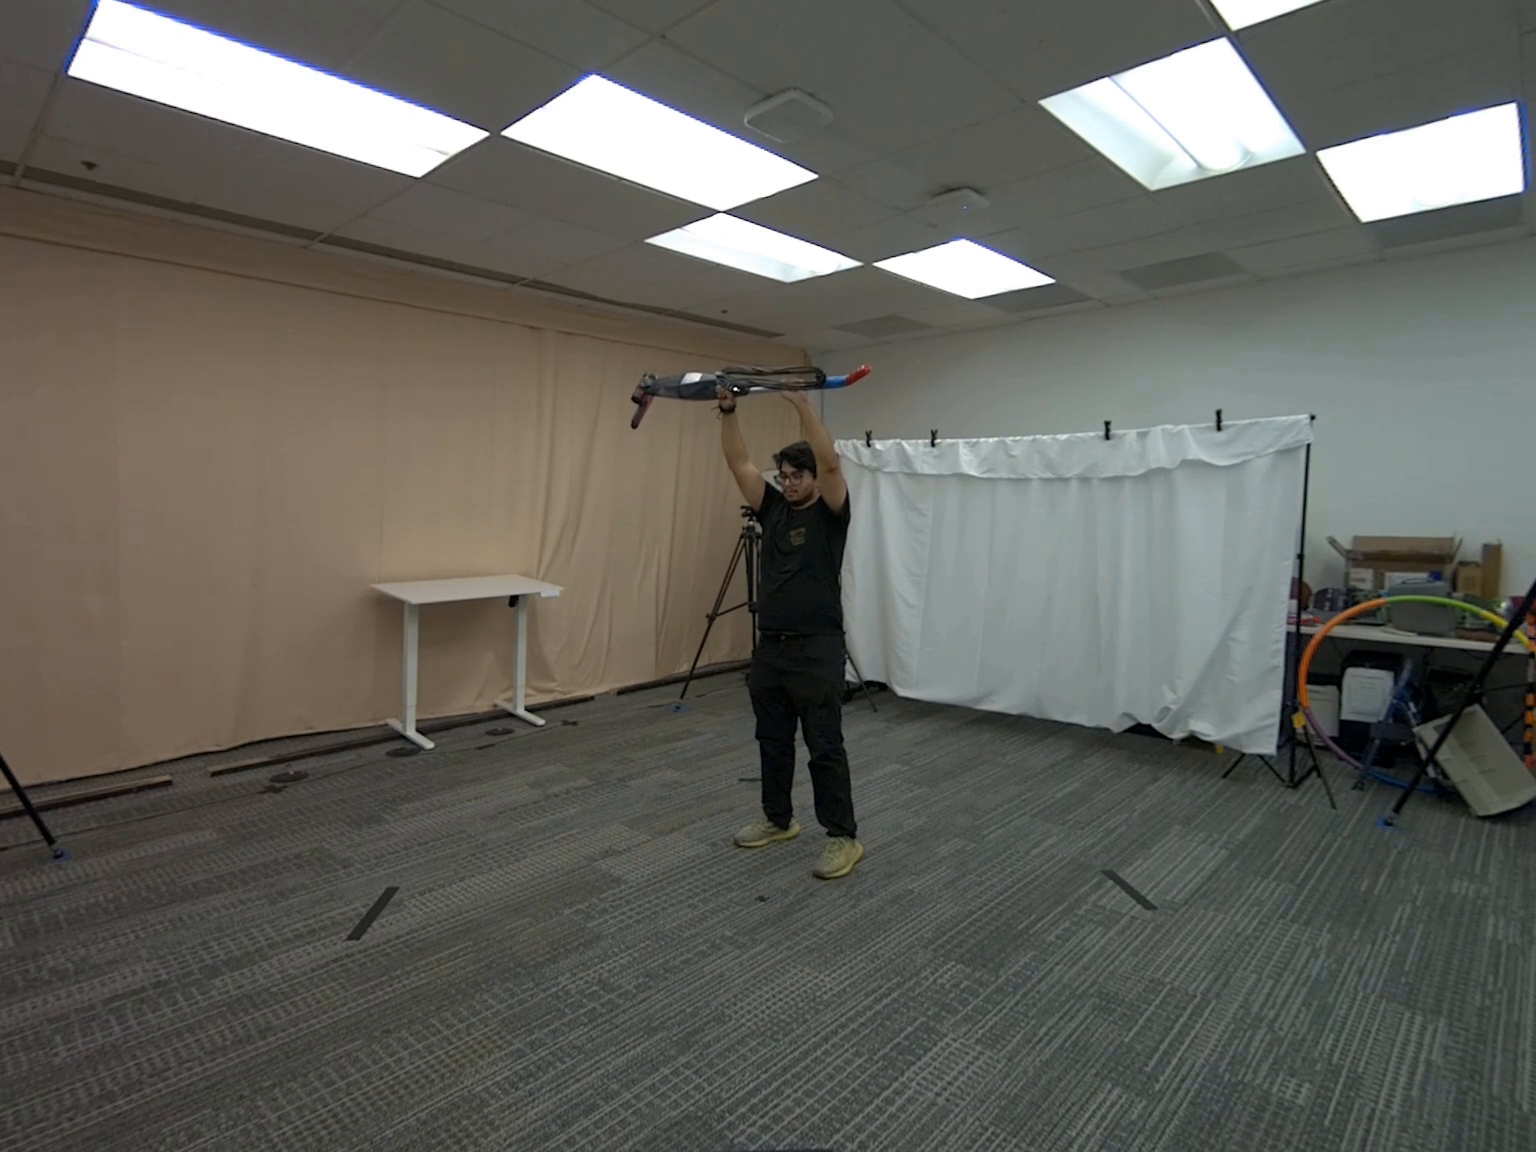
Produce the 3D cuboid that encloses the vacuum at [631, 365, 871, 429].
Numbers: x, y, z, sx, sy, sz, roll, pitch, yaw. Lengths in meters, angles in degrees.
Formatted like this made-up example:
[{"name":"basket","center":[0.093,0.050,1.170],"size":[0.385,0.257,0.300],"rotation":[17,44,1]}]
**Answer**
[{"name":"vacuum","center":[-0.092,-0.713,3.092],"size":[1.083,0.252,0.139],"rotation":[2,-40,39]}]
